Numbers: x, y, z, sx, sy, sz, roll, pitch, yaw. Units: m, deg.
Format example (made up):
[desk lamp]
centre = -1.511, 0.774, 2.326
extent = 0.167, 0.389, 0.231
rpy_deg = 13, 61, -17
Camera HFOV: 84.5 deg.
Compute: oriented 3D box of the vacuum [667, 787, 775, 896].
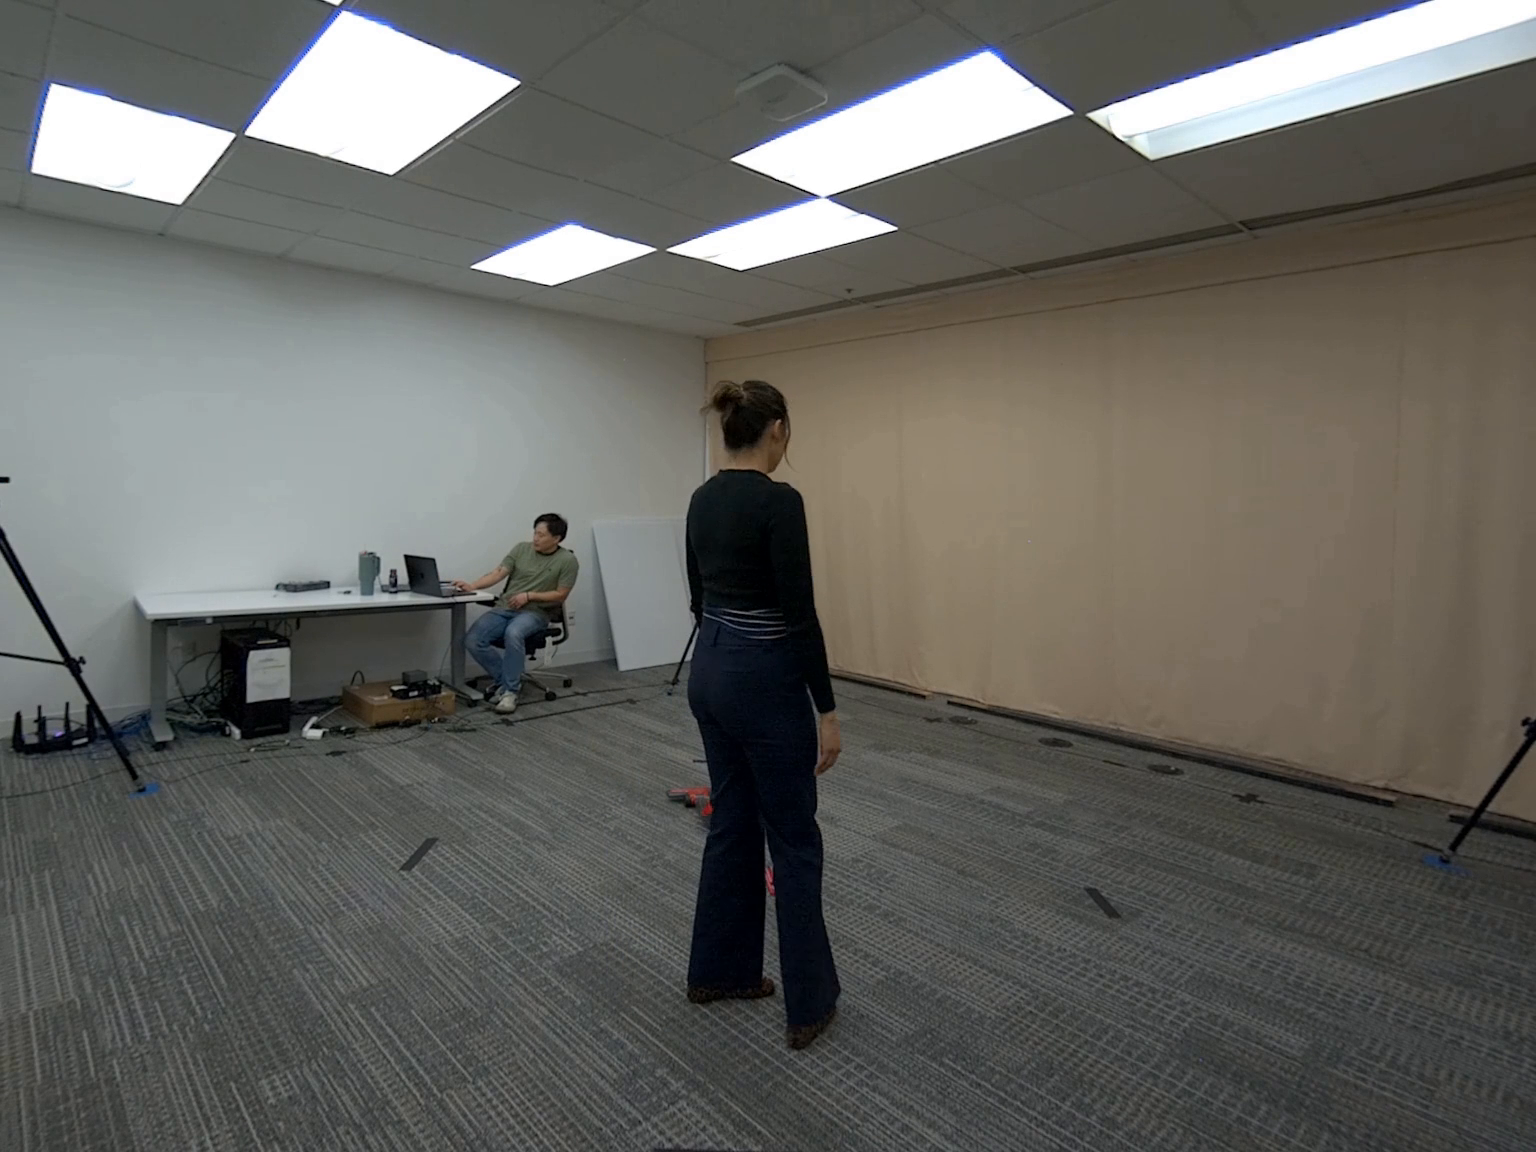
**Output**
[vacuum]
centre = -0.165, 1.025, 3.348
extent = 0.250, 0.143, 1.065
rpy_deg = -6, 6, -17
